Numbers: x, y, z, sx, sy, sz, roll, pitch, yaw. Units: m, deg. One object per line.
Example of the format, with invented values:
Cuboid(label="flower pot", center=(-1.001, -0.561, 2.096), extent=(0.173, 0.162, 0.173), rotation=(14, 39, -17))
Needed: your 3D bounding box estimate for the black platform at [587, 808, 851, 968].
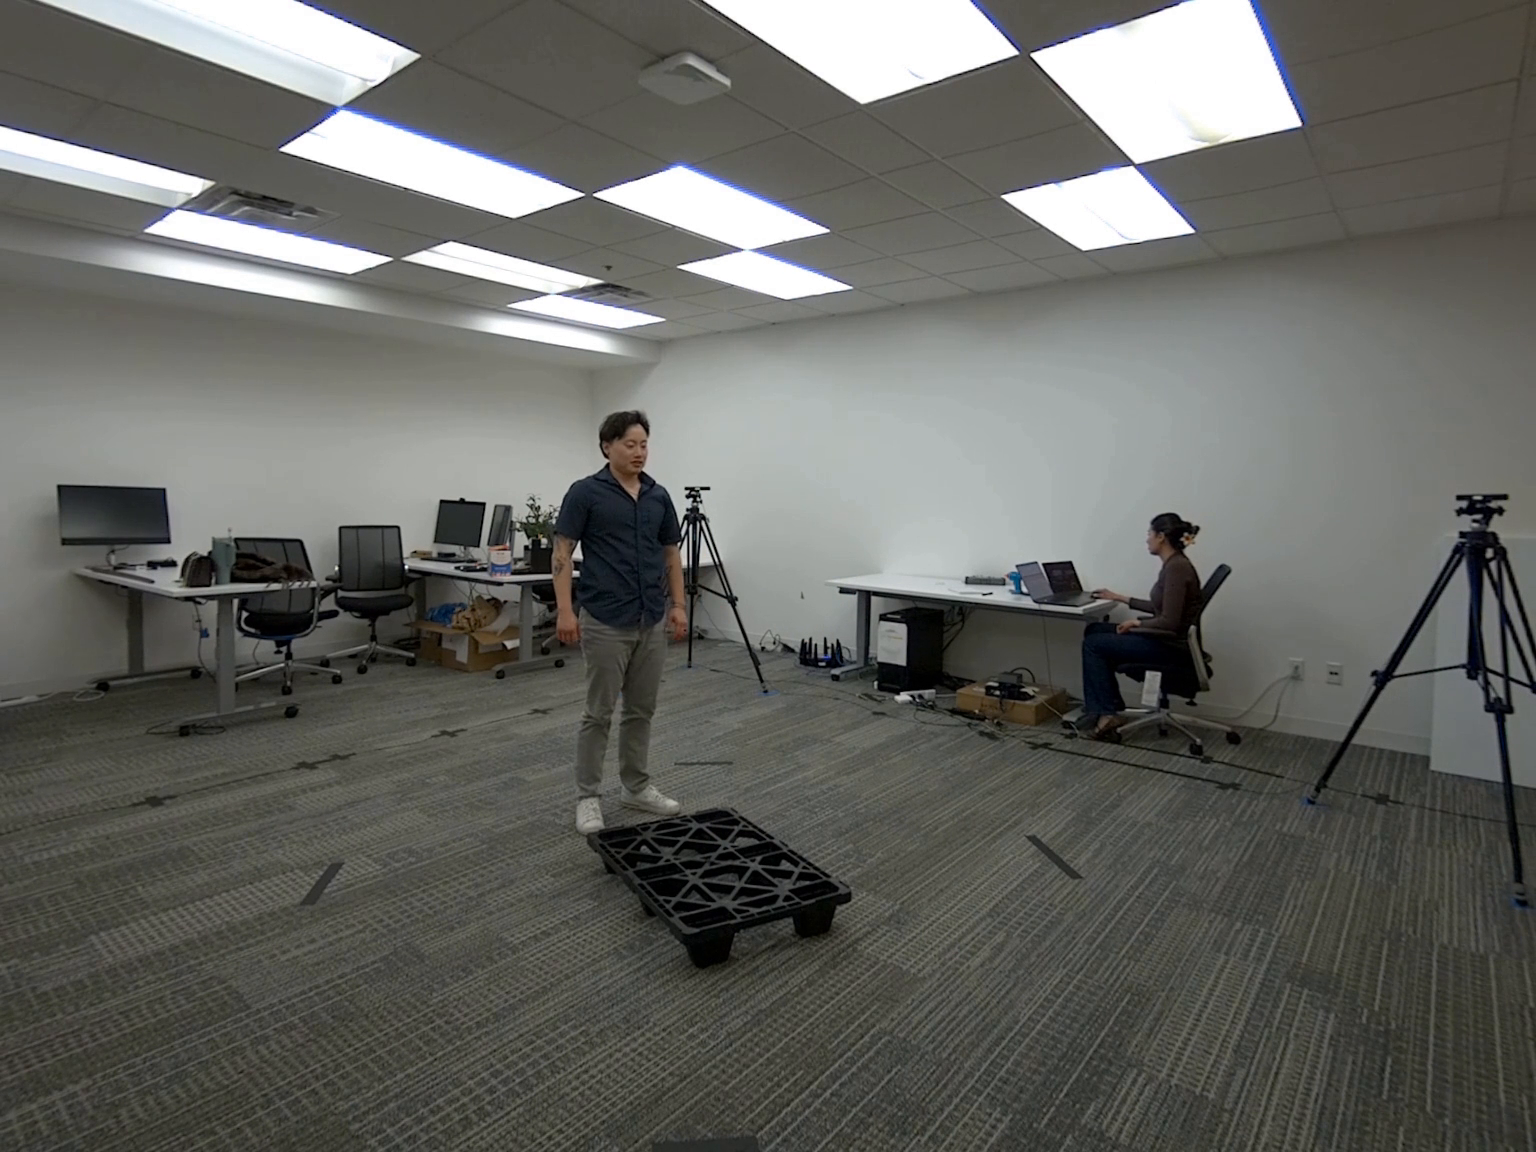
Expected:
Cuboid(label="black platform", center=(-0.205, 1.023, 2.873), extent=(0.589, 0.143, 0.830), rotation=(-3, 7, -31))
